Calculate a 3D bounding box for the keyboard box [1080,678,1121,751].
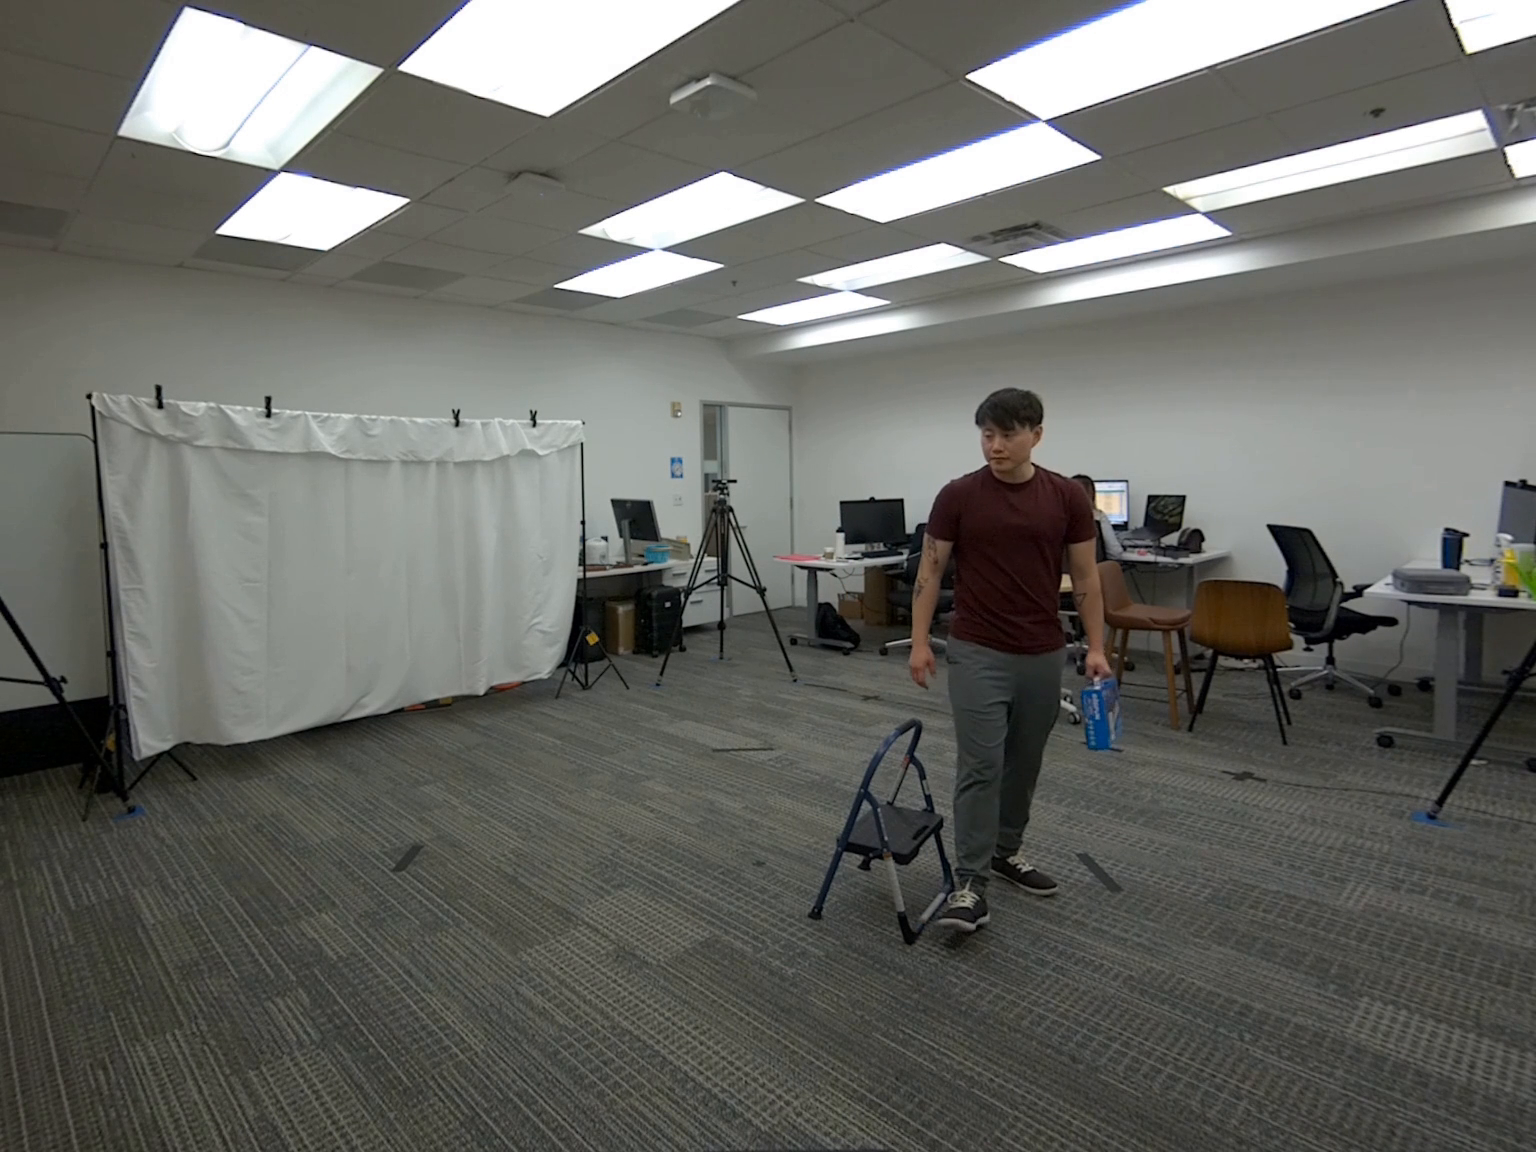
[{"bbox_3d":[1.034,0.421,2.667,0.060,0.177,0.426,-6,-5,25],"label":"keyboard box"}]
